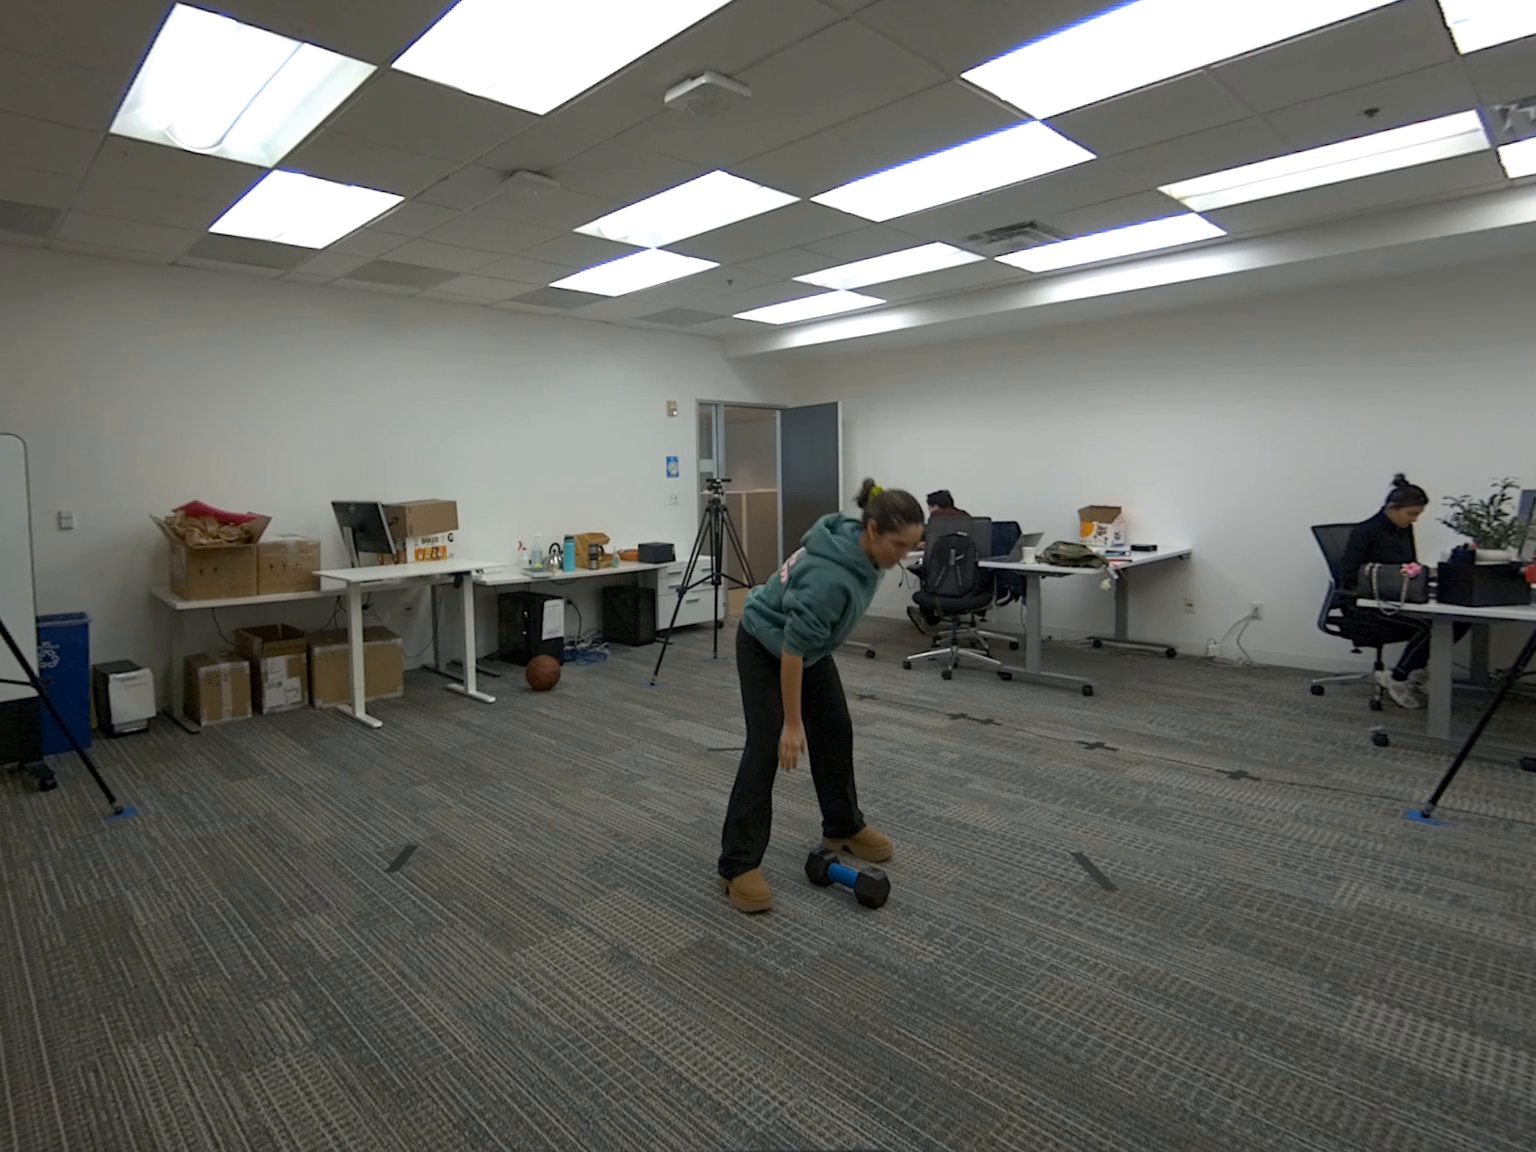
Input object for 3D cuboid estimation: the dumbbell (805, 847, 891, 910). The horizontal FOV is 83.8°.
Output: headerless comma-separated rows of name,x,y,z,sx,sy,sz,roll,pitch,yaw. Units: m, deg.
dumbbell,0.265,1.008,2.868,0.119,0.108,0.303,-3,5,-45
